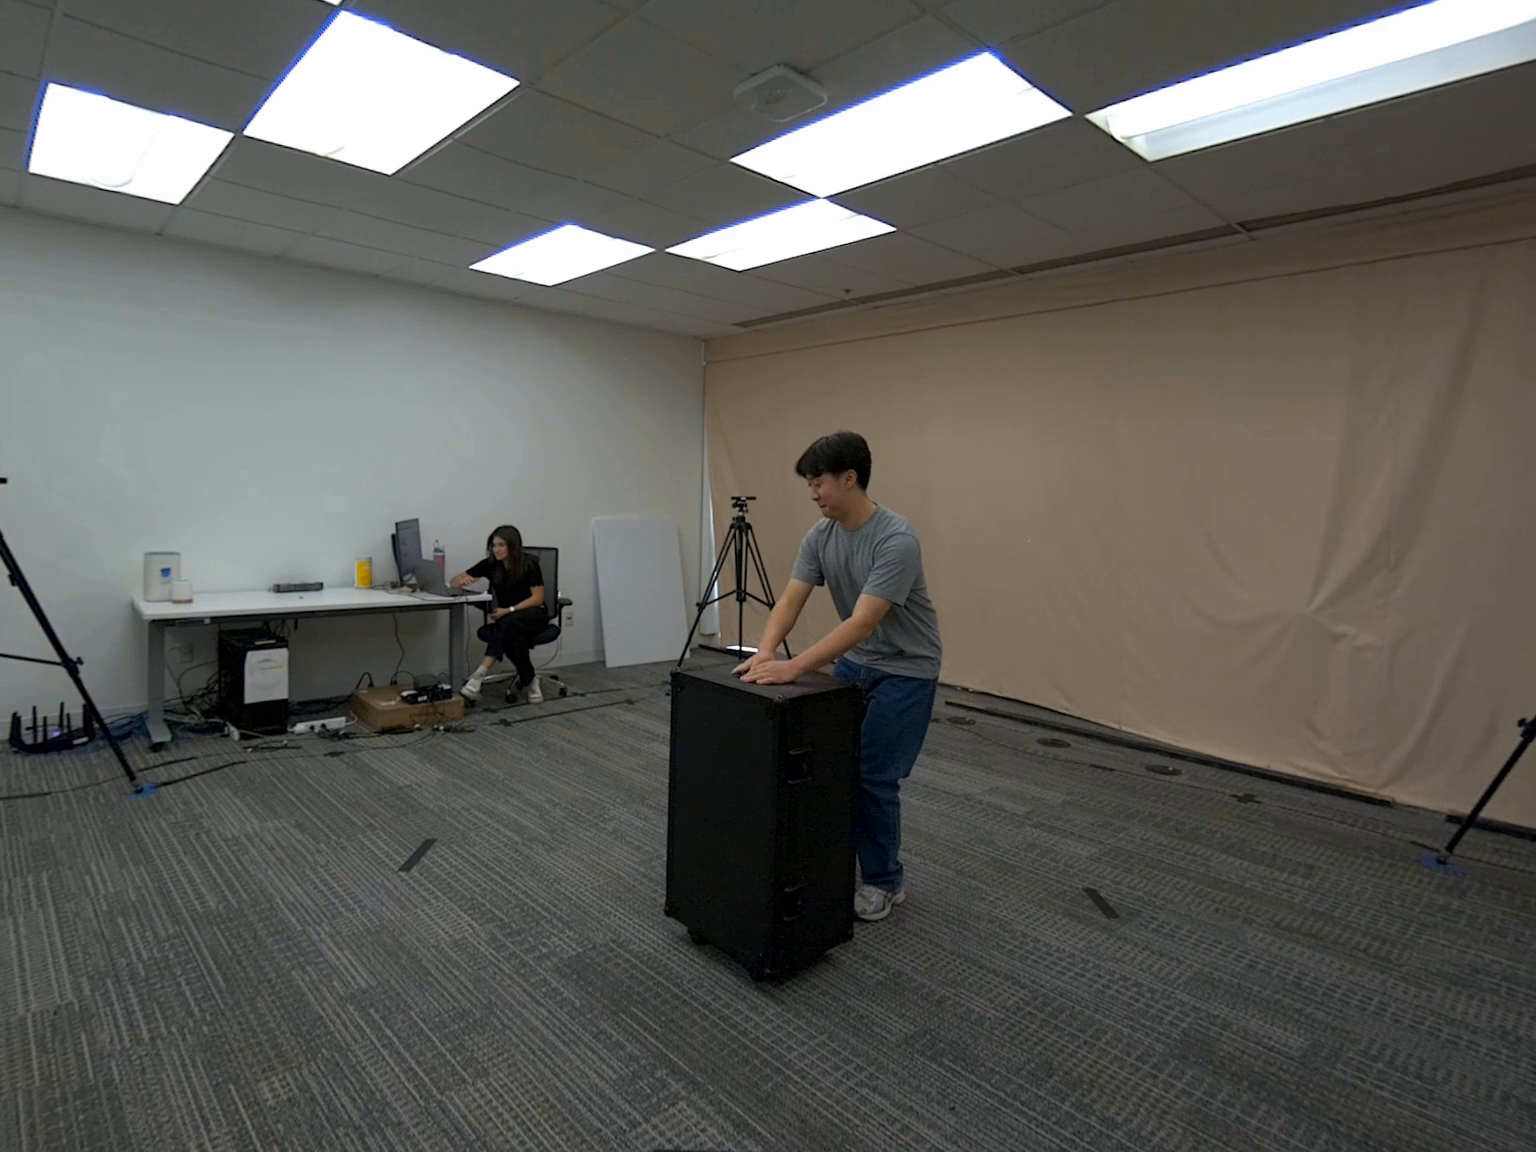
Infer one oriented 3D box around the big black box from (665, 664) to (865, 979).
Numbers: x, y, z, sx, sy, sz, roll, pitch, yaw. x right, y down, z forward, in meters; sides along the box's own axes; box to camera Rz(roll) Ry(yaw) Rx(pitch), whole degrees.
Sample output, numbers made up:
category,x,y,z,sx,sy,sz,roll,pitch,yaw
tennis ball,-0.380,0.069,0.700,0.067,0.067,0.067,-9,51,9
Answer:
category,x,y,z,sx,sy,sz,roll,pitch,yaw
big black box,-0.024,0.732,2.588,0.387,0.860,0.534,0,3,-44
